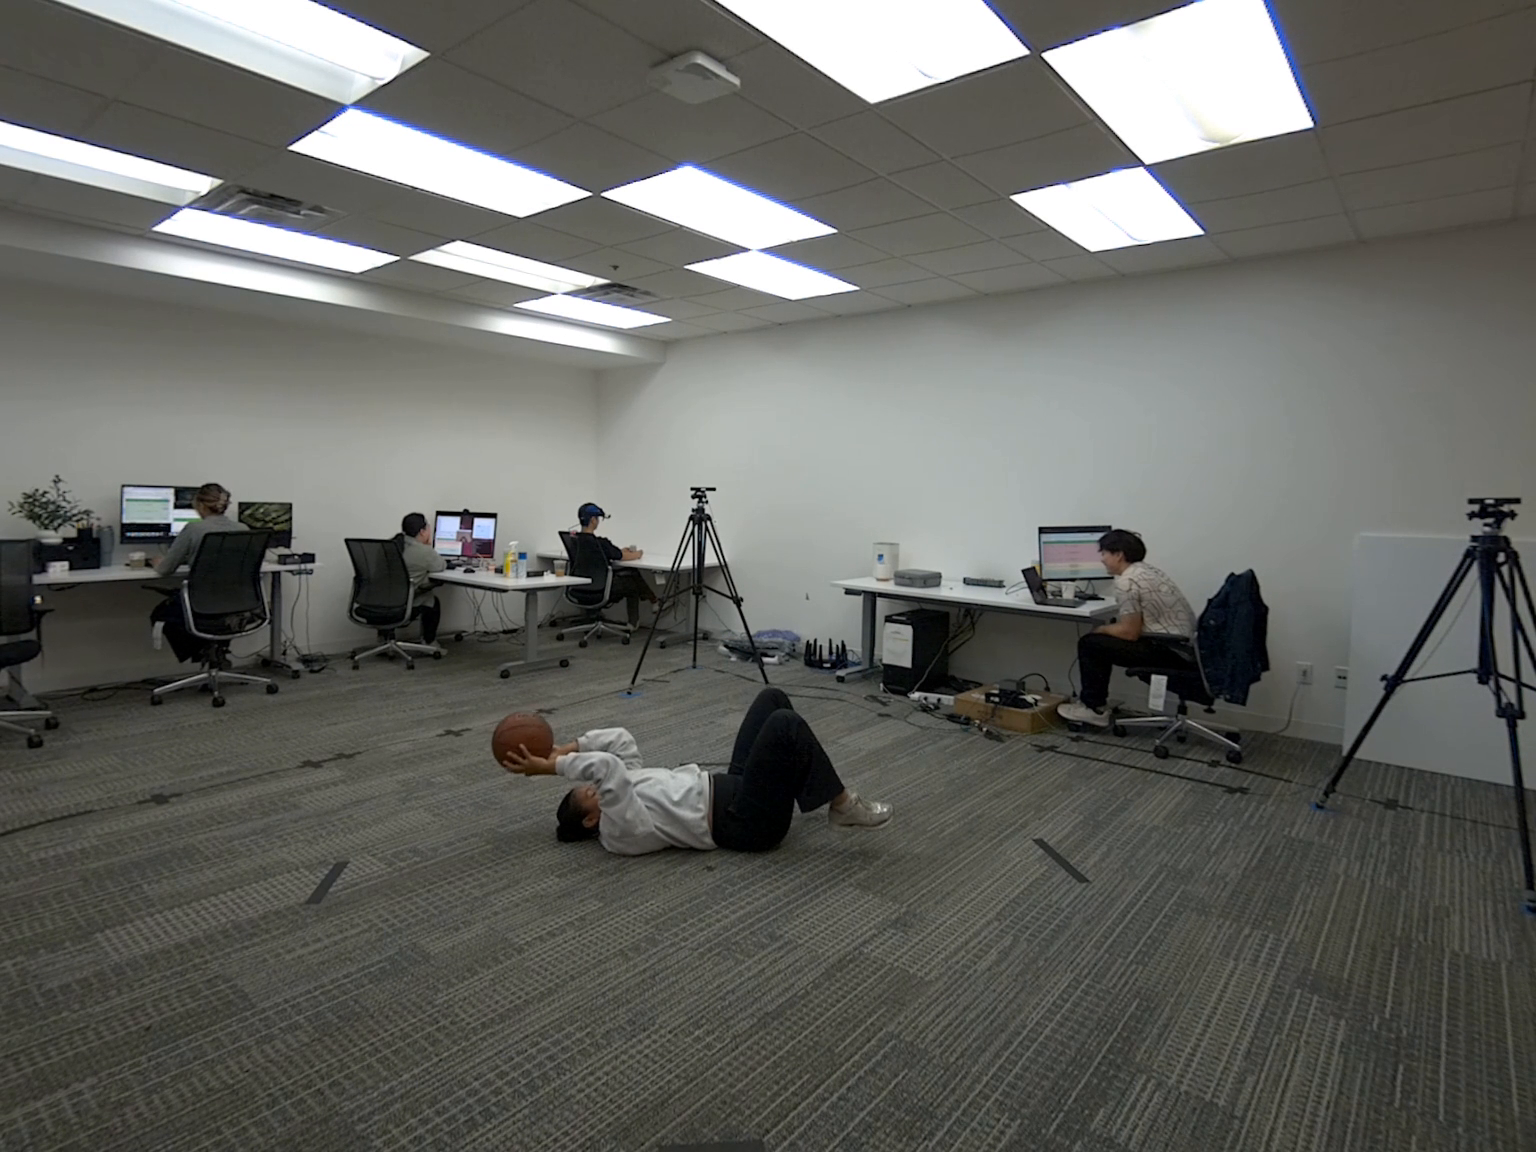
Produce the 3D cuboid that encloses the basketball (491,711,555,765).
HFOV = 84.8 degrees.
[{"bbox_3d":[-0.962,0.652,3.350,0.235,0.235,0.237,1,4,-2],"label":"basketball"}]
